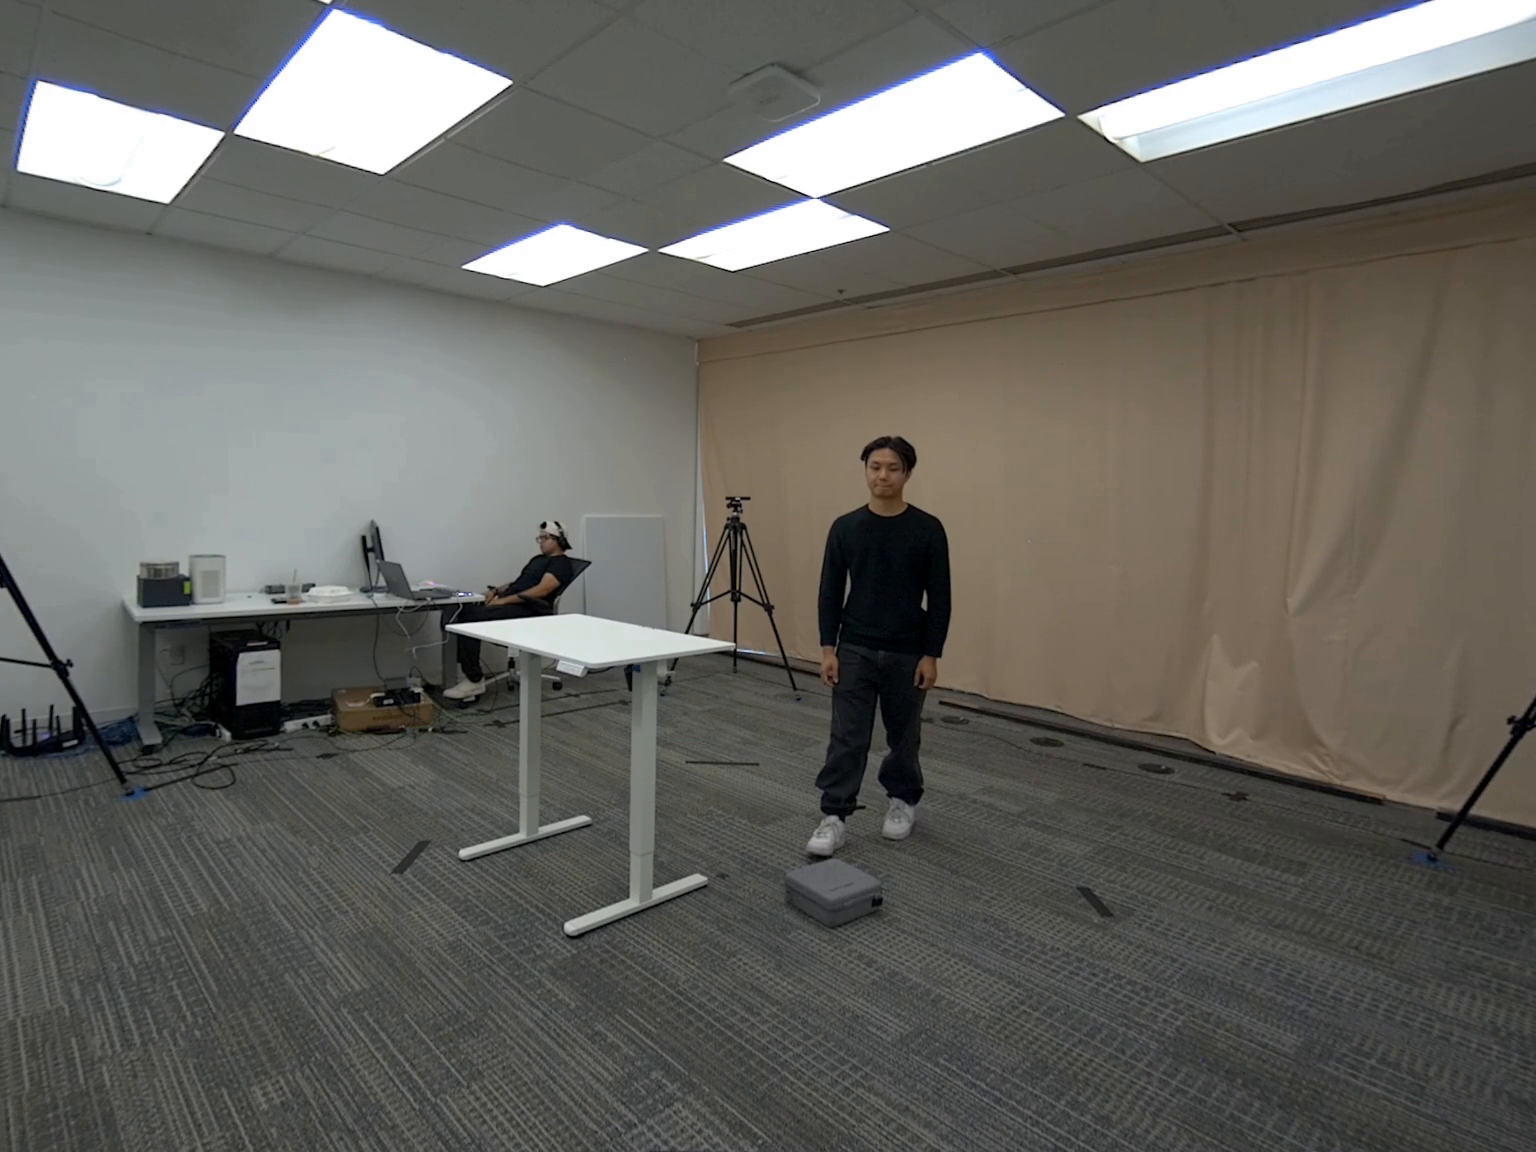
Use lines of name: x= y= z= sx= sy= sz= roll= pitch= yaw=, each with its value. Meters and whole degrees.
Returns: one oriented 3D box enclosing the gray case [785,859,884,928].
gray case: x=0.213 y=1.074 z=2.889 sx=0.251 sy=0.104 sz=0.267 roll=-5 pitch=7 yaw=-38
